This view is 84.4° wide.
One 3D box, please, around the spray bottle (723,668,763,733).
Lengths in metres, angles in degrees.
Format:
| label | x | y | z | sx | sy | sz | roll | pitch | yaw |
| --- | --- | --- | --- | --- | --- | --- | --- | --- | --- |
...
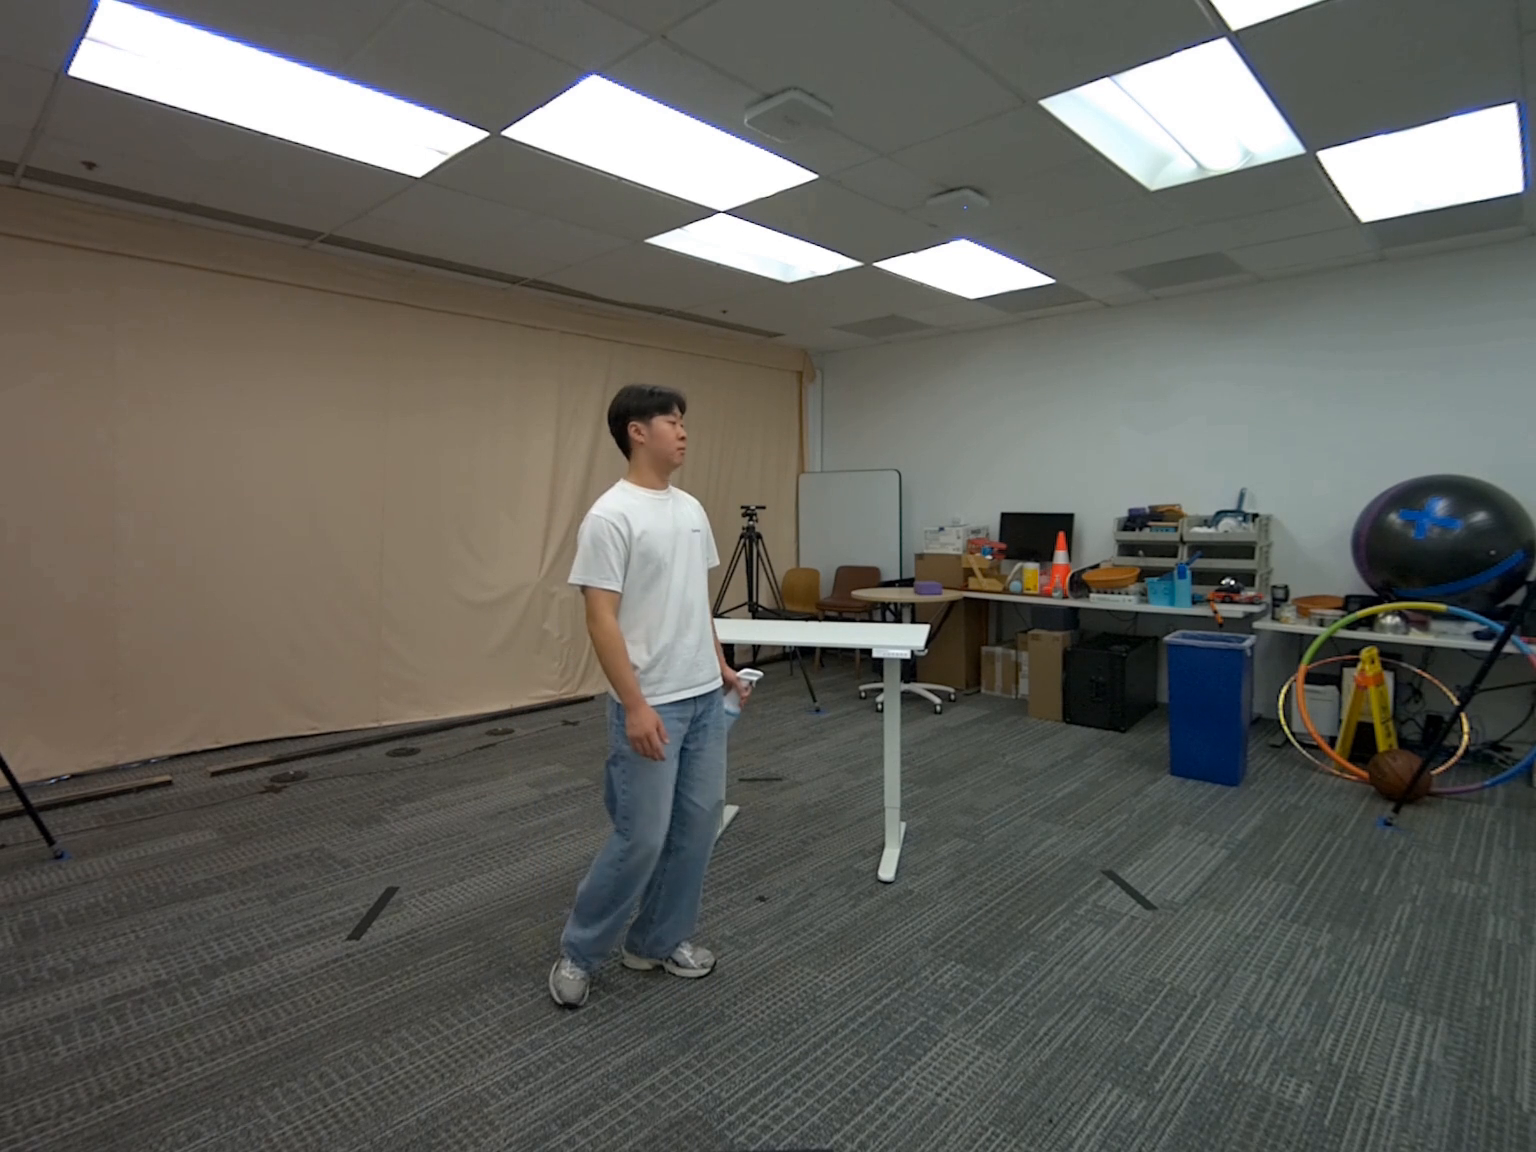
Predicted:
| label | x | y | z | sx | sy | sz | roll | pitch | yaw |
| --- | --- | --- | --- | --- | --- | --- | --- | --- | --- |
| spray bottle | -0.126 | 0.421 | 2.672 | 0.089 | 0.297 | 0.088 | 26 | 13 | -9 |
